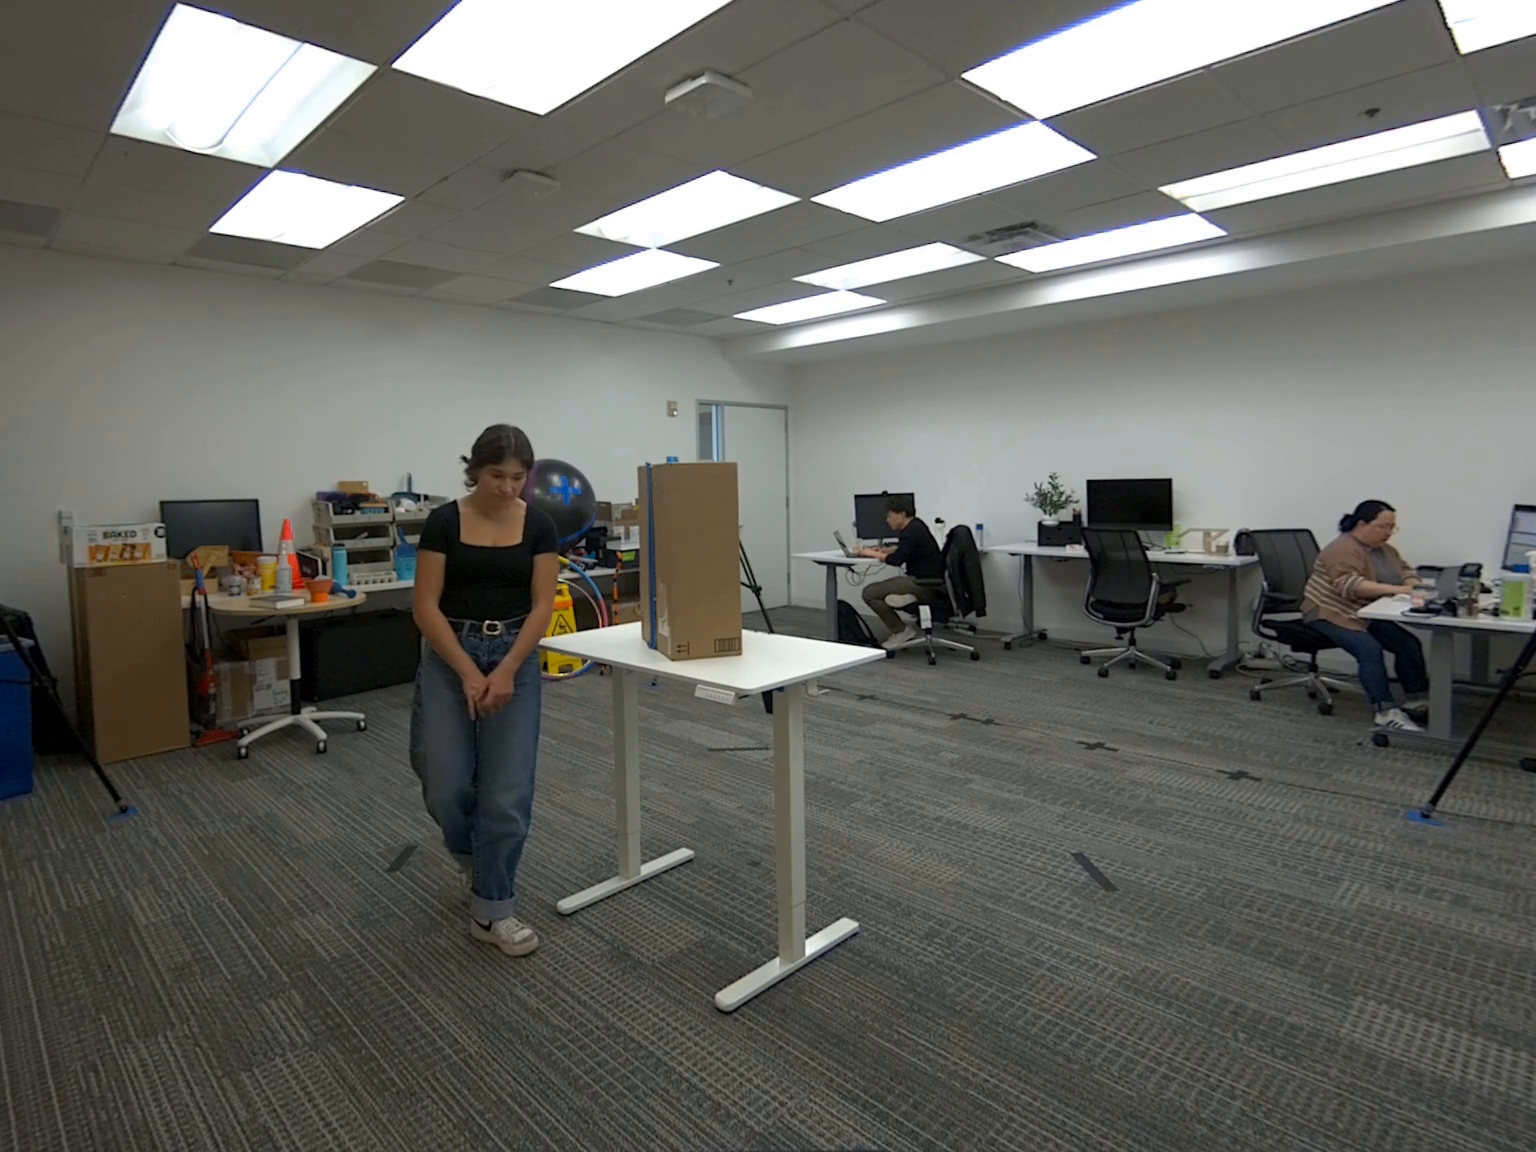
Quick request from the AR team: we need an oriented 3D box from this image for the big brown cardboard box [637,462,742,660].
[{"bbox_3d":[-0.254,-0.060,2.653,0.229,0.588,0.425,-1,3,-19],"label":"big brown cardboard box"}]
